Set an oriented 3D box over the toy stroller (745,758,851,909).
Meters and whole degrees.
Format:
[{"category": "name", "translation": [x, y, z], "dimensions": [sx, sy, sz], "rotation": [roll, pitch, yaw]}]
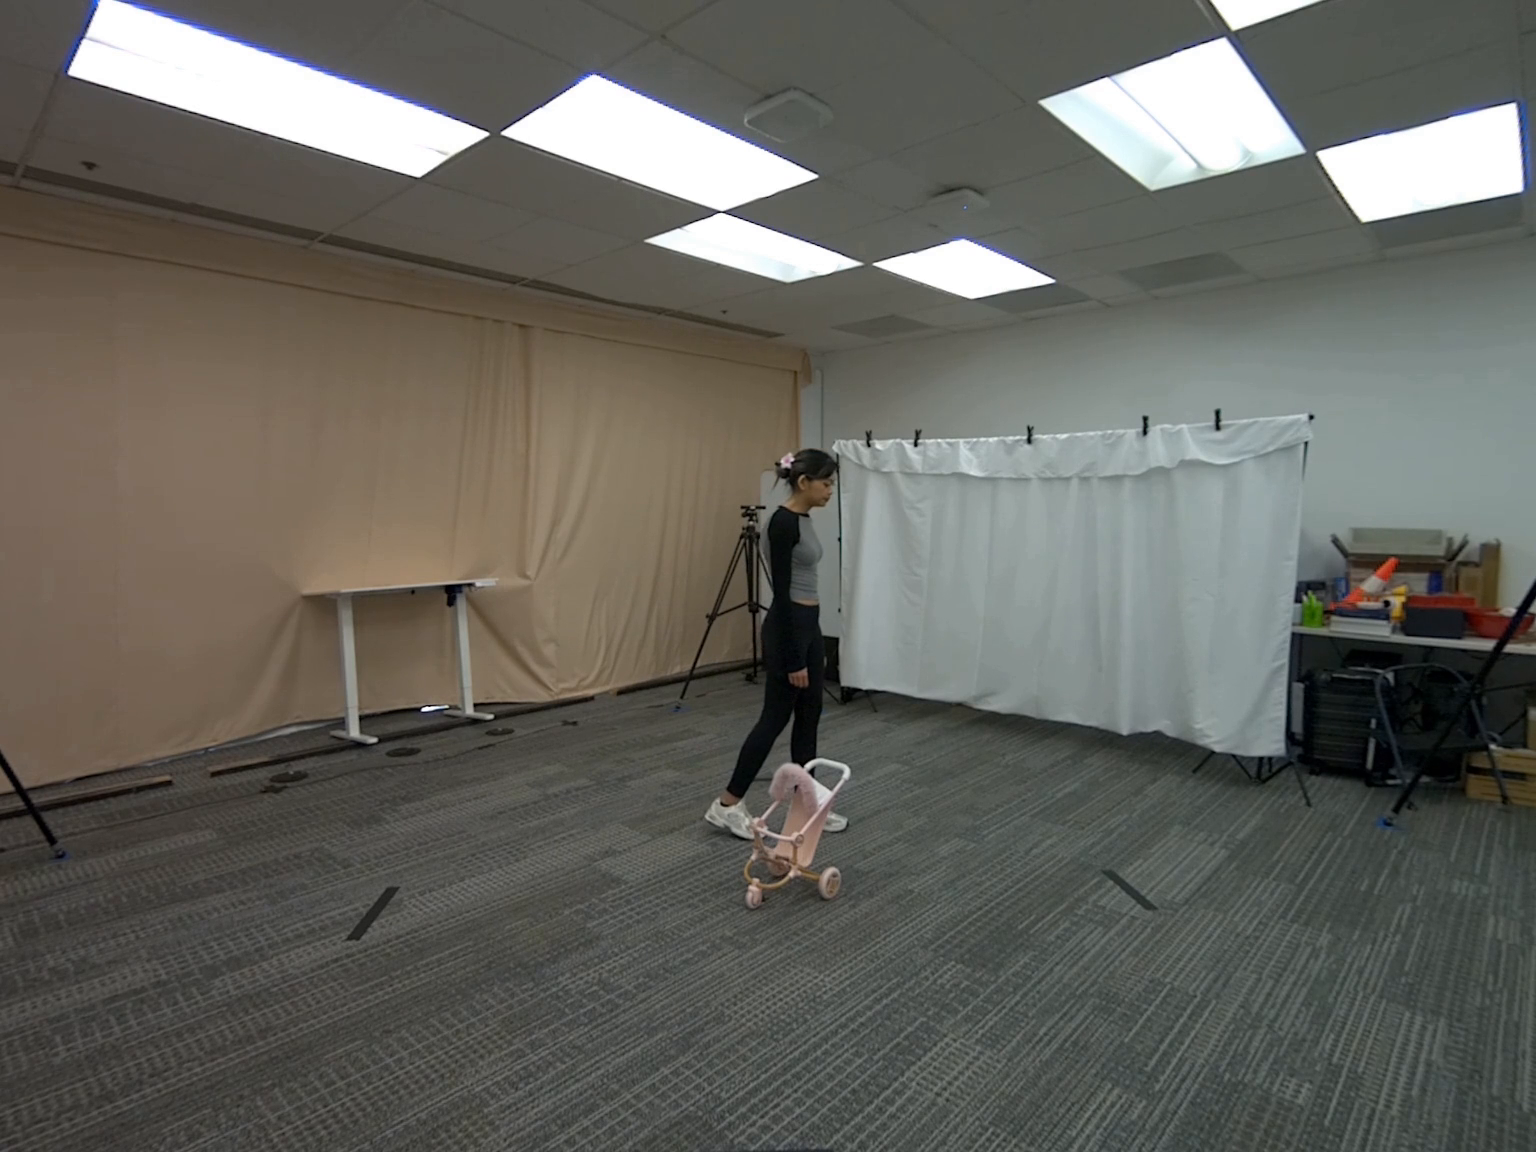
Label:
[{"category": "toy stroller", "translation": [0.085, 0.914, 3.027], "dimensions": [0.329, 0.536, 0.290], "rotation": [18, -9, -38]}]
